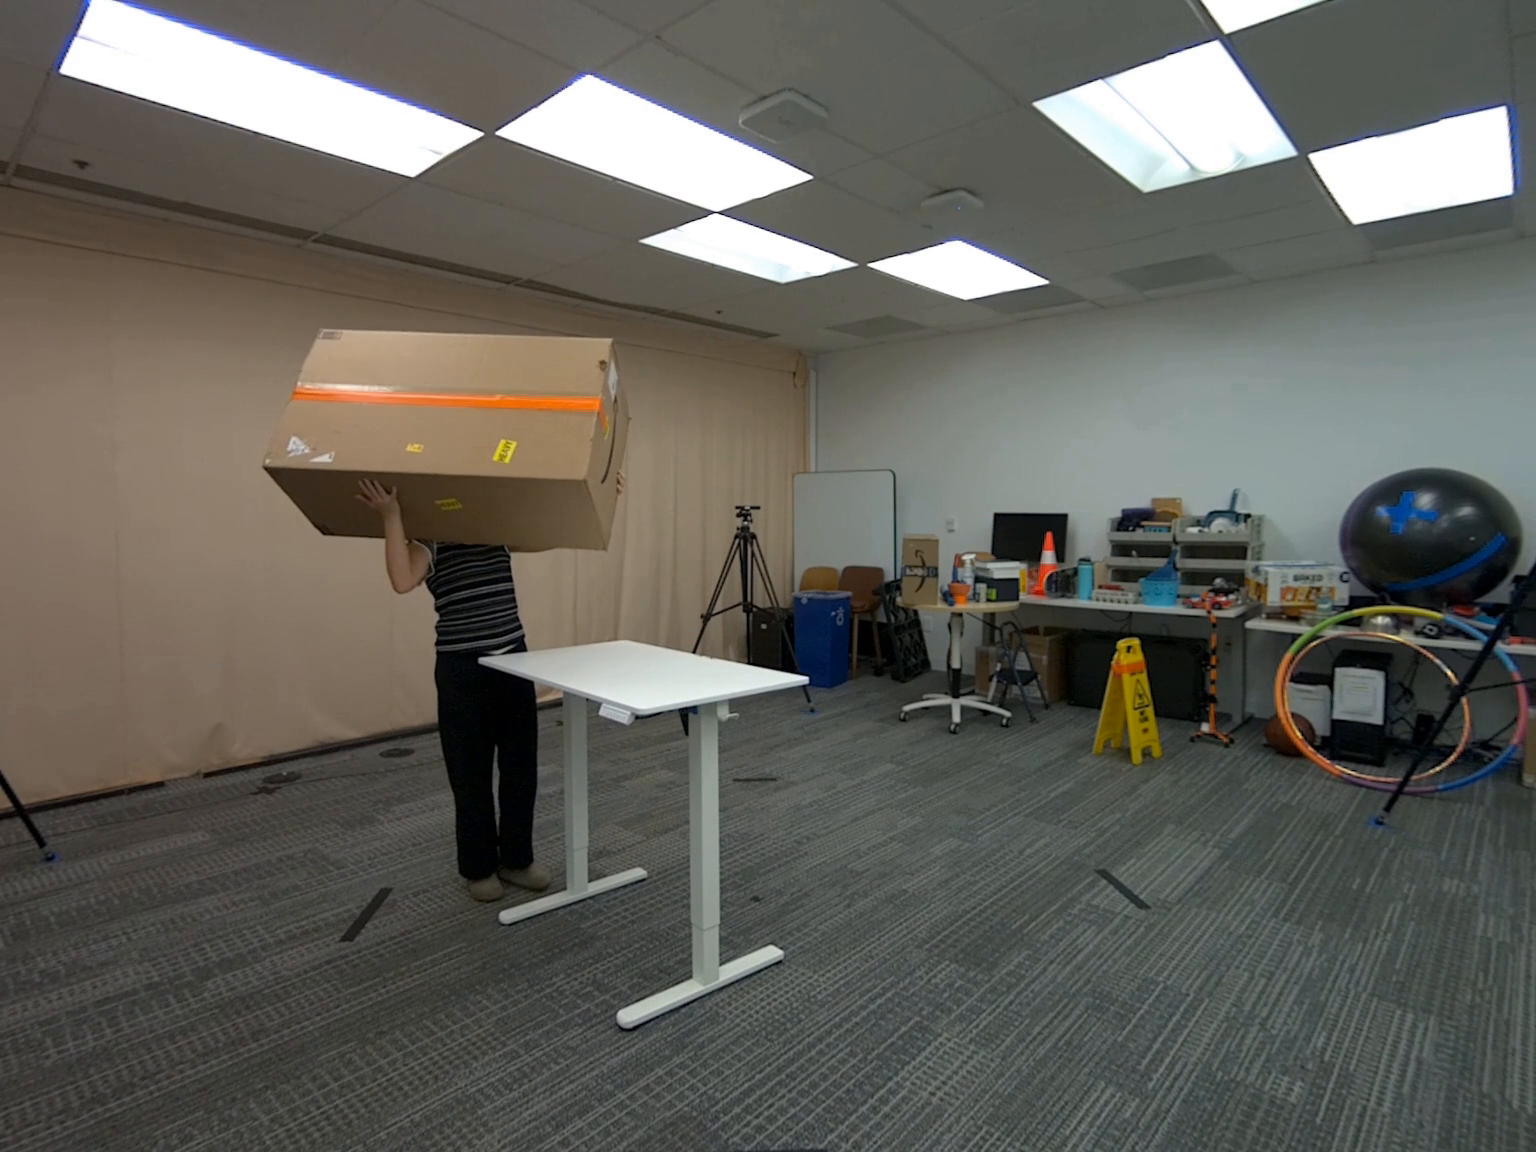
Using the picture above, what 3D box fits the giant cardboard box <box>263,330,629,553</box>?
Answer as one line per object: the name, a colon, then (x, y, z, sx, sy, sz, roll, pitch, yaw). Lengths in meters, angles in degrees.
giant cardboard box: (-1.032, -0.463, 2.848, 1.031, 0.585, 0.418, 3, -29, 4)
